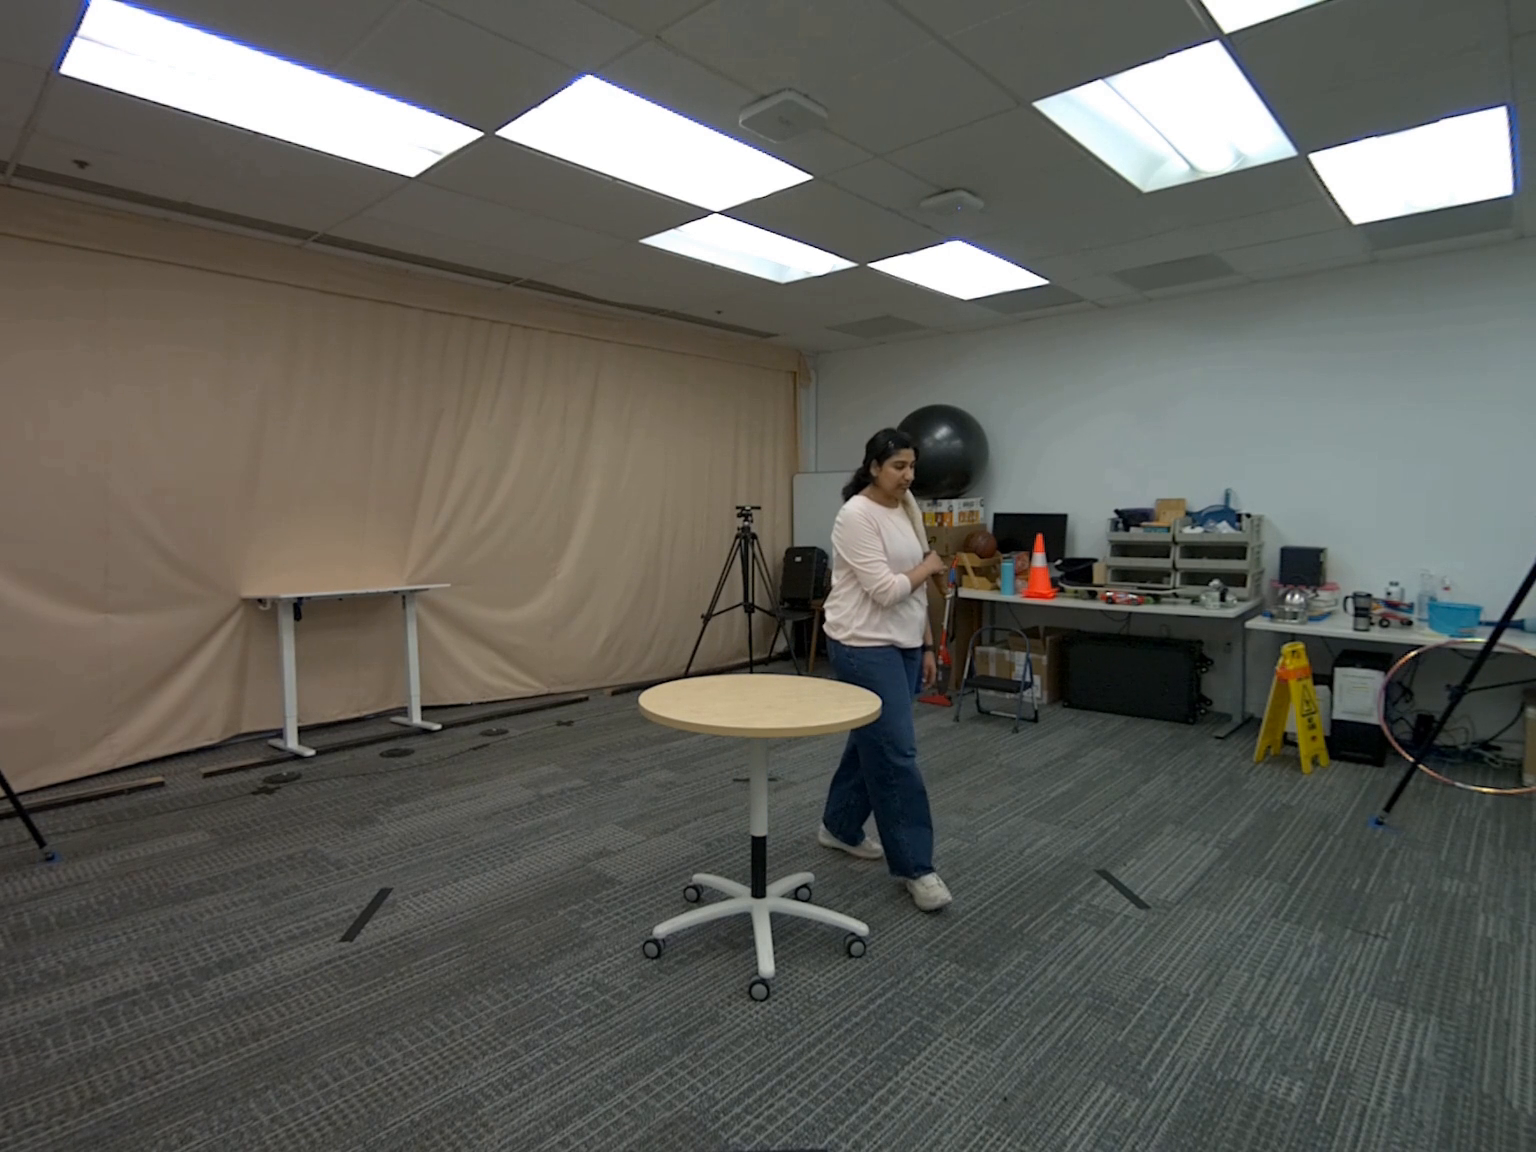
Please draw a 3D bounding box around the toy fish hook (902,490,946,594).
[{"bbox_3d":[0.560,-0.131,3.268,0.047,0.508,0.228,-21,-3,-24],"label":"toy fish hook"}]
